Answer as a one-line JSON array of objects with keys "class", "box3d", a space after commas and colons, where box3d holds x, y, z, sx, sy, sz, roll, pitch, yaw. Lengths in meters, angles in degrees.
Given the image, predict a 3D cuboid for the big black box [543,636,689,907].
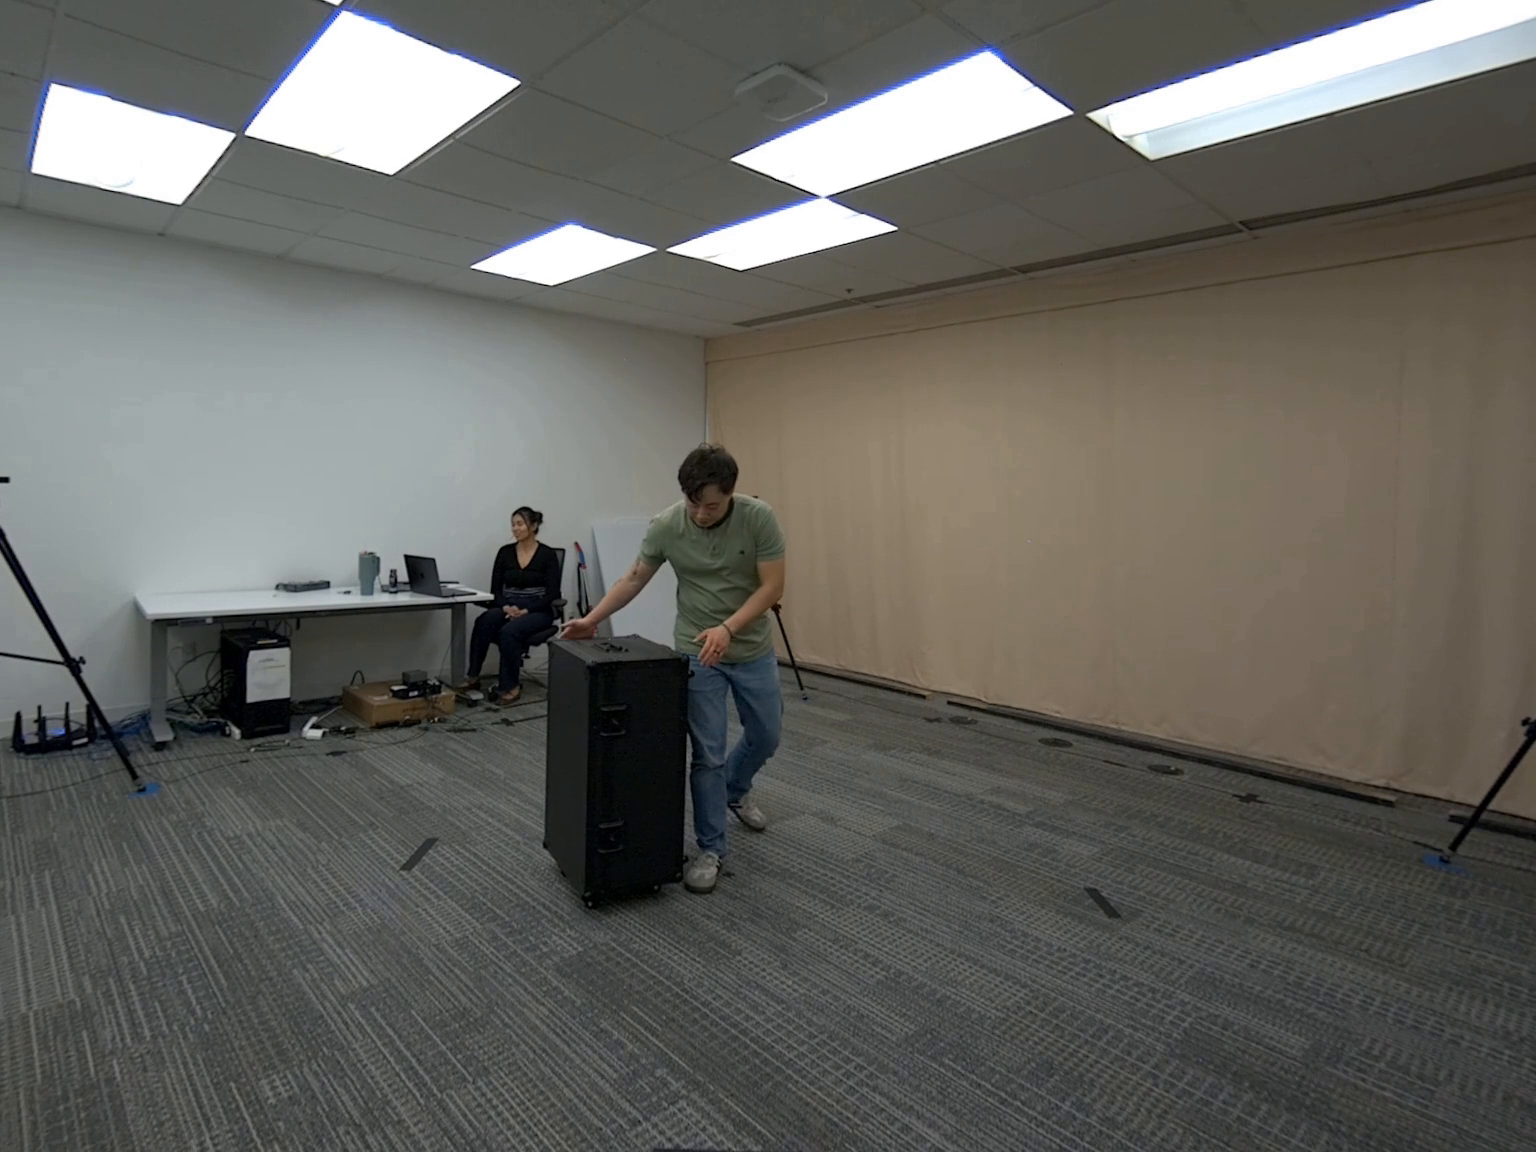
[{"class": "big black box", "box3d": [-0.552, 0.680, 3.007, 0.388, 0.860, 0.533, 1, 3, -30]}]
